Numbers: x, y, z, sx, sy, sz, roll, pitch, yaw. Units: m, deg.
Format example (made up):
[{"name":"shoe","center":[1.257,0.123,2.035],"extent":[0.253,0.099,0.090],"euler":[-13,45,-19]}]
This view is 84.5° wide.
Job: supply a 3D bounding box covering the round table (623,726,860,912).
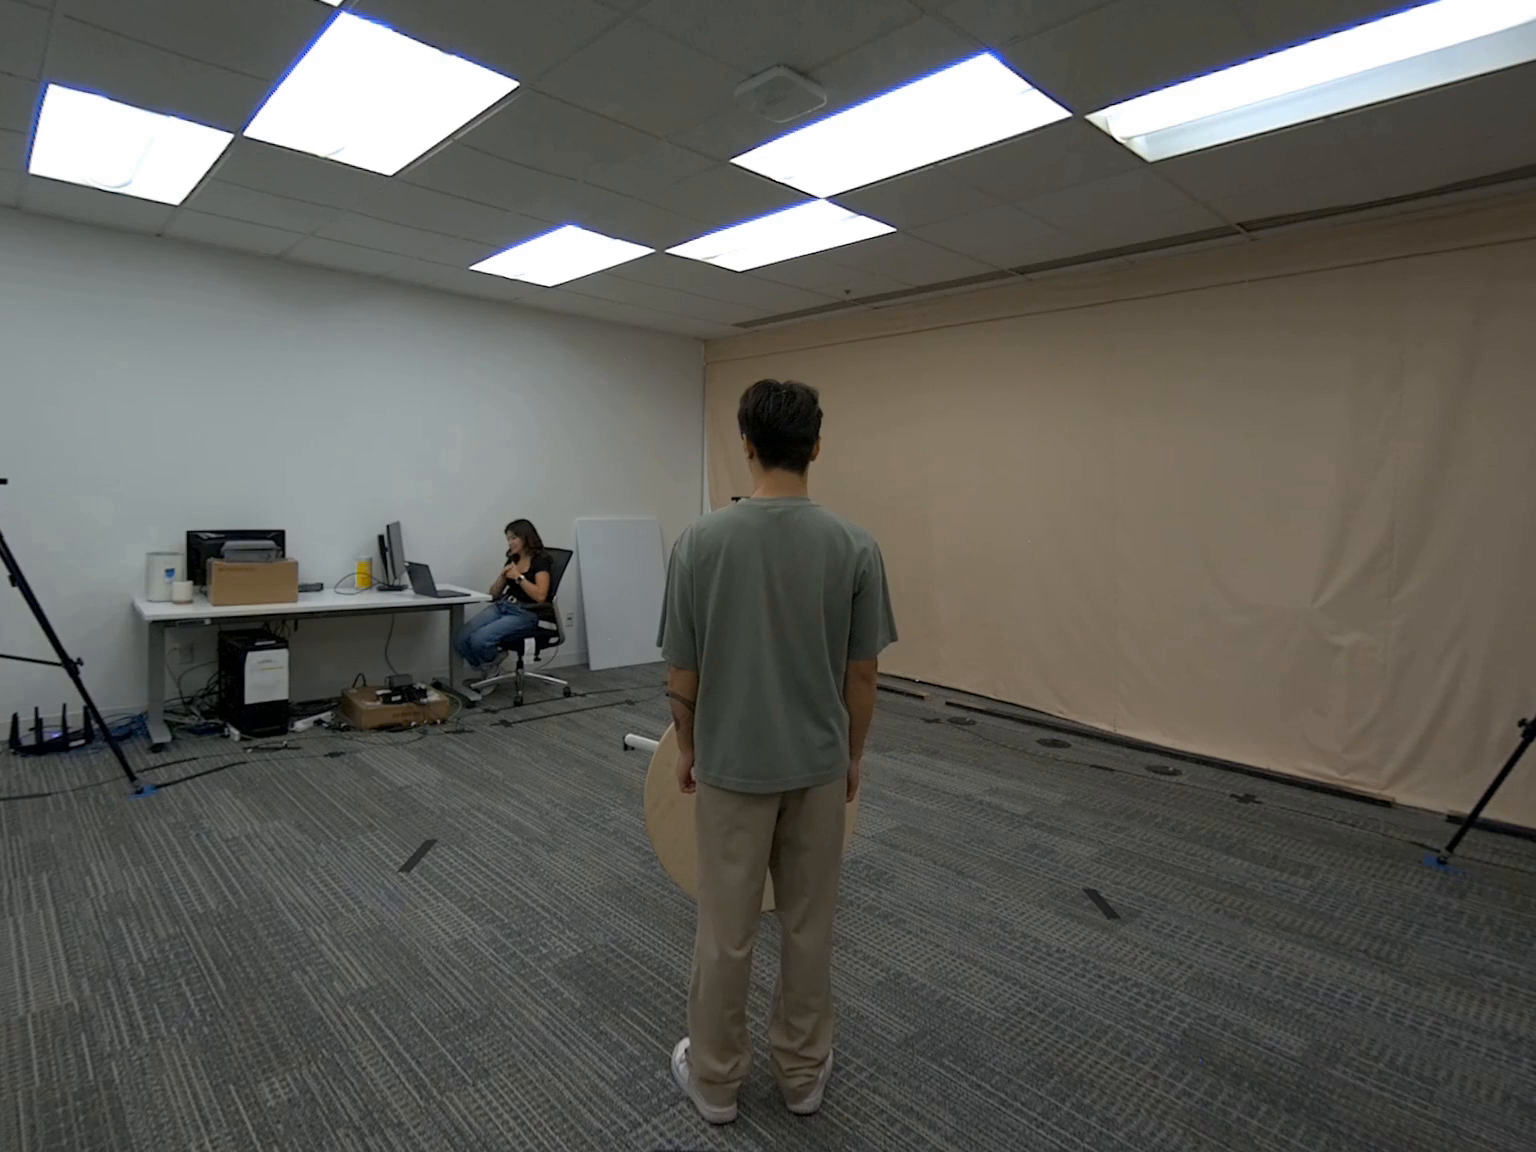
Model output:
[{"name":"round table","center":[-0.165,0.763,3.242],"extent":[0.775,0.787,0.795],"euler":[0,-2,-17]}]
